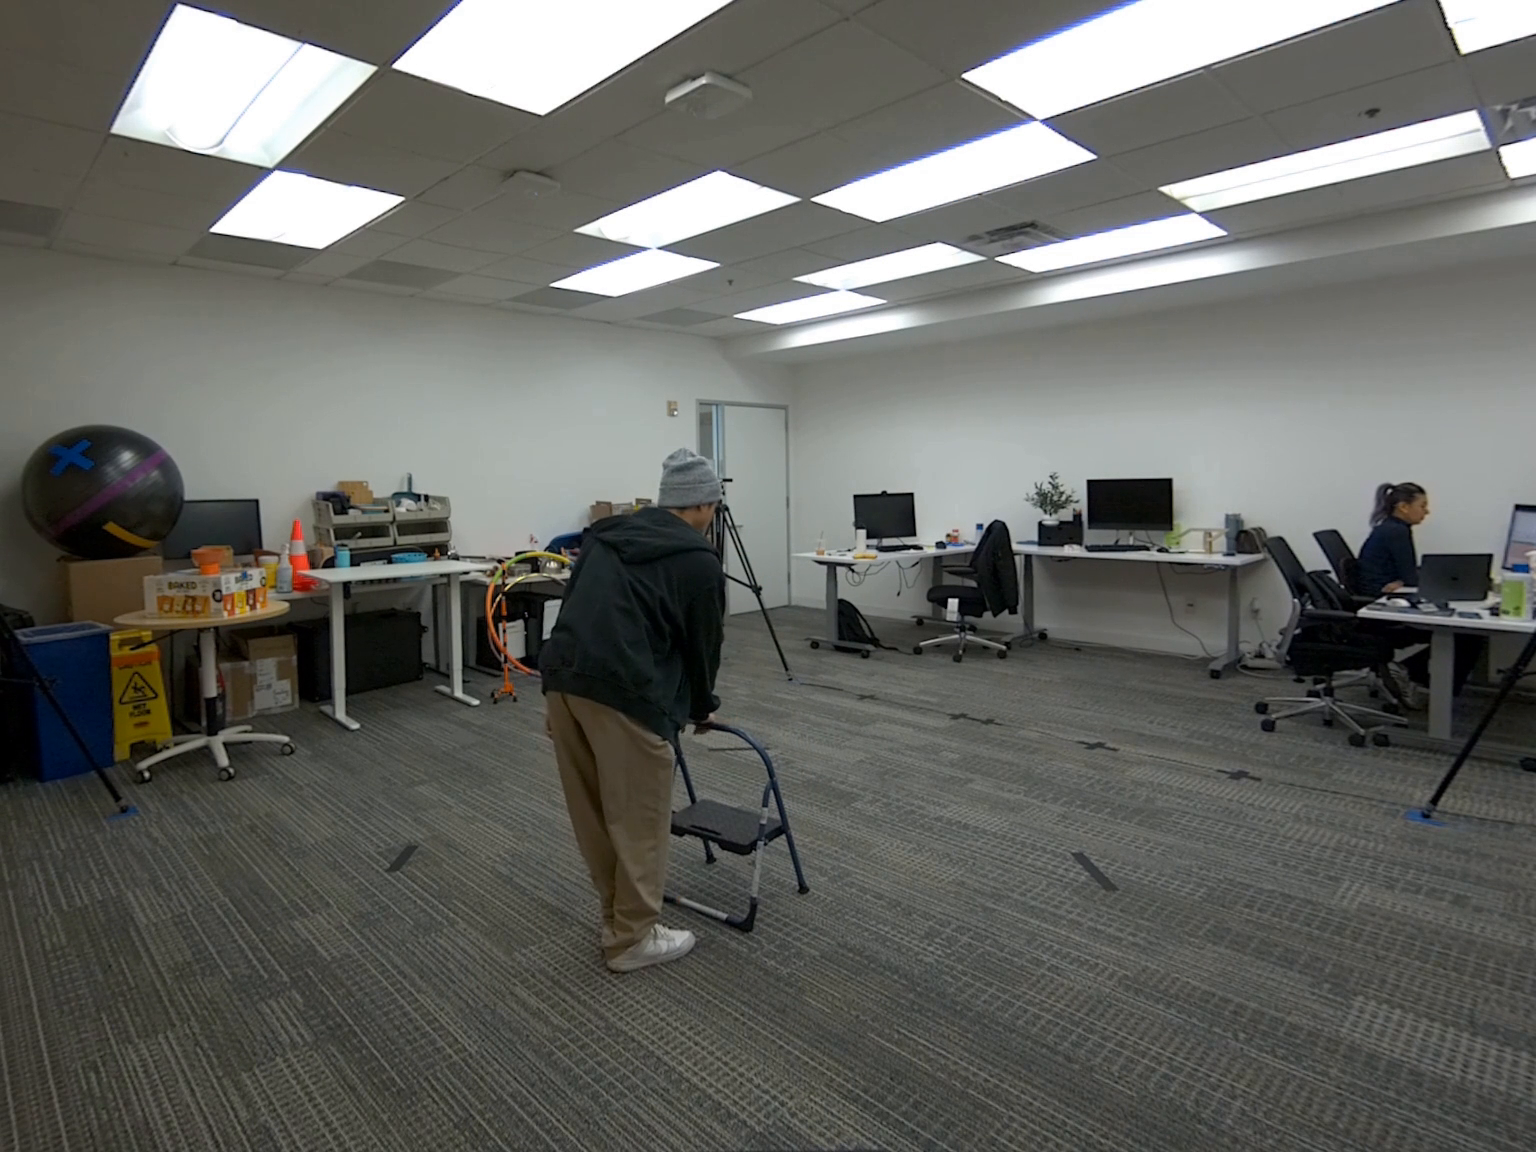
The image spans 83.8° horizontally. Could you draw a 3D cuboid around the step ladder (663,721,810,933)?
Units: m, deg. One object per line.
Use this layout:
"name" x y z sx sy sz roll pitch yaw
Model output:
"step ladder" -0.133 0.769 2.867 0.443 0.604 0.341 2 5 35
